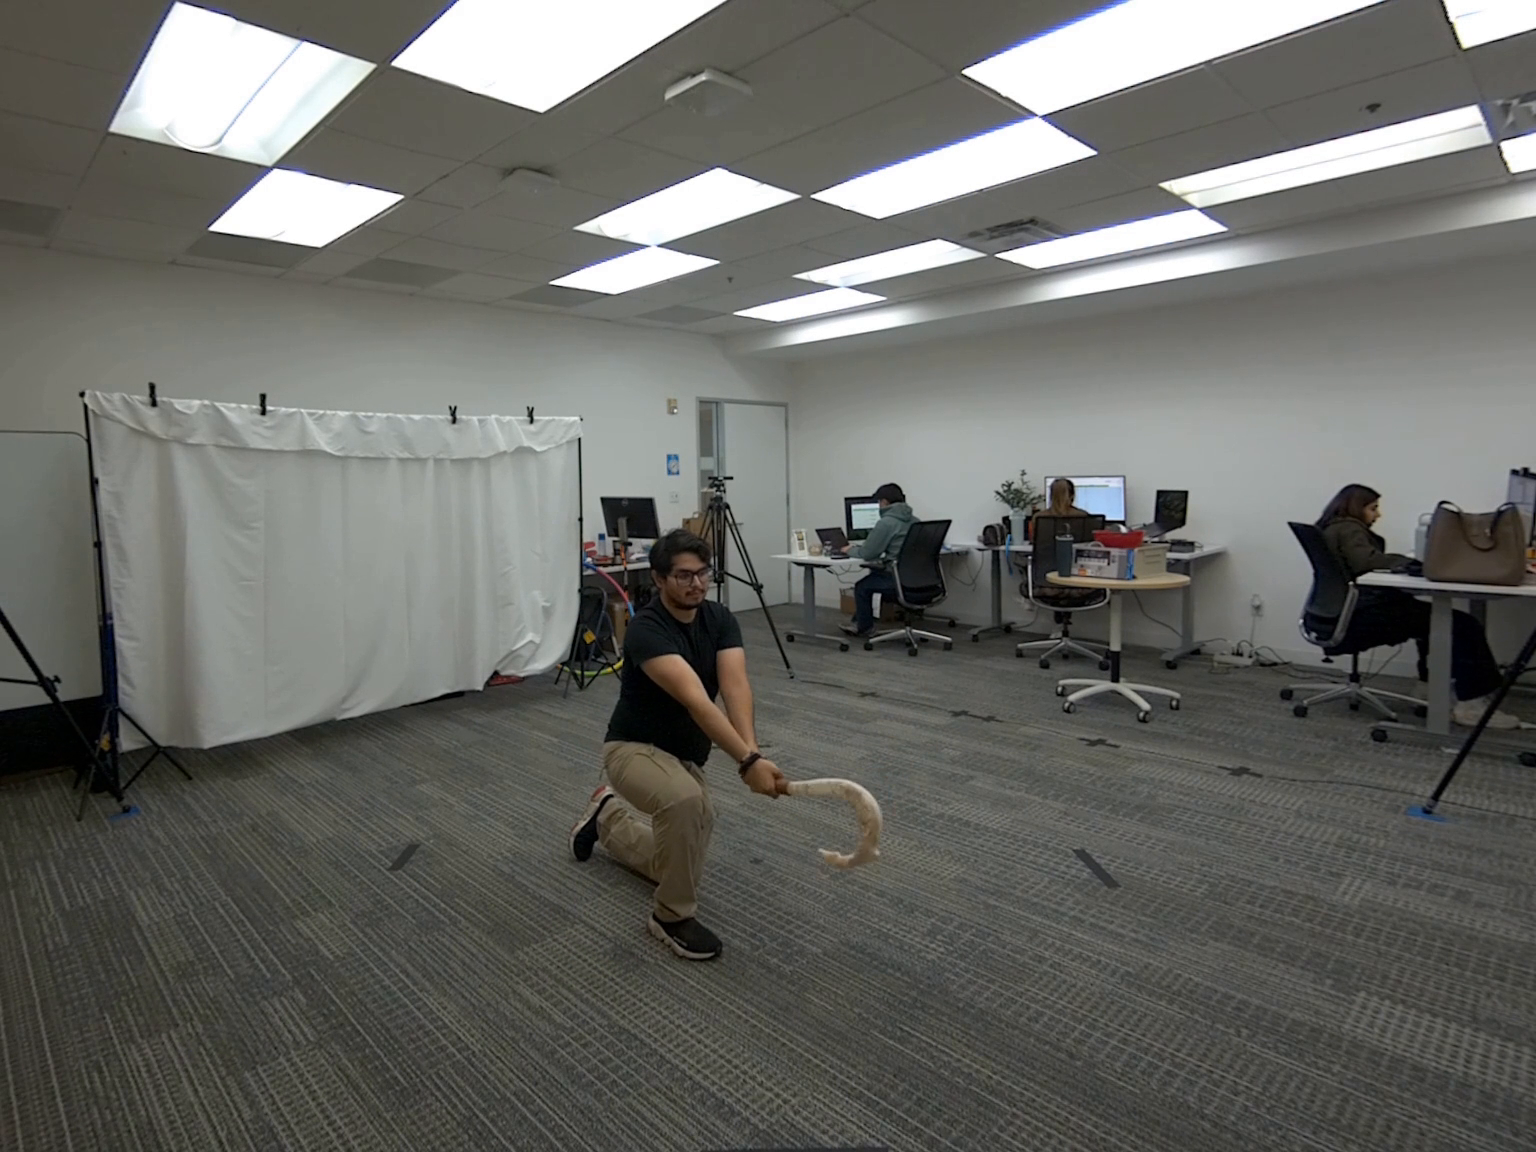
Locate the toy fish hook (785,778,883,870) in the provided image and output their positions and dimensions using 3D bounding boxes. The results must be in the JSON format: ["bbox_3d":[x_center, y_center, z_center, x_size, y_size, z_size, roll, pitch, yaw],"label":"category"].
[{"bbox_3d":[0.101,0.638,2.304,0.047,0.225,0.522,12,-6,-42],"label":"toy fish hook"}]
